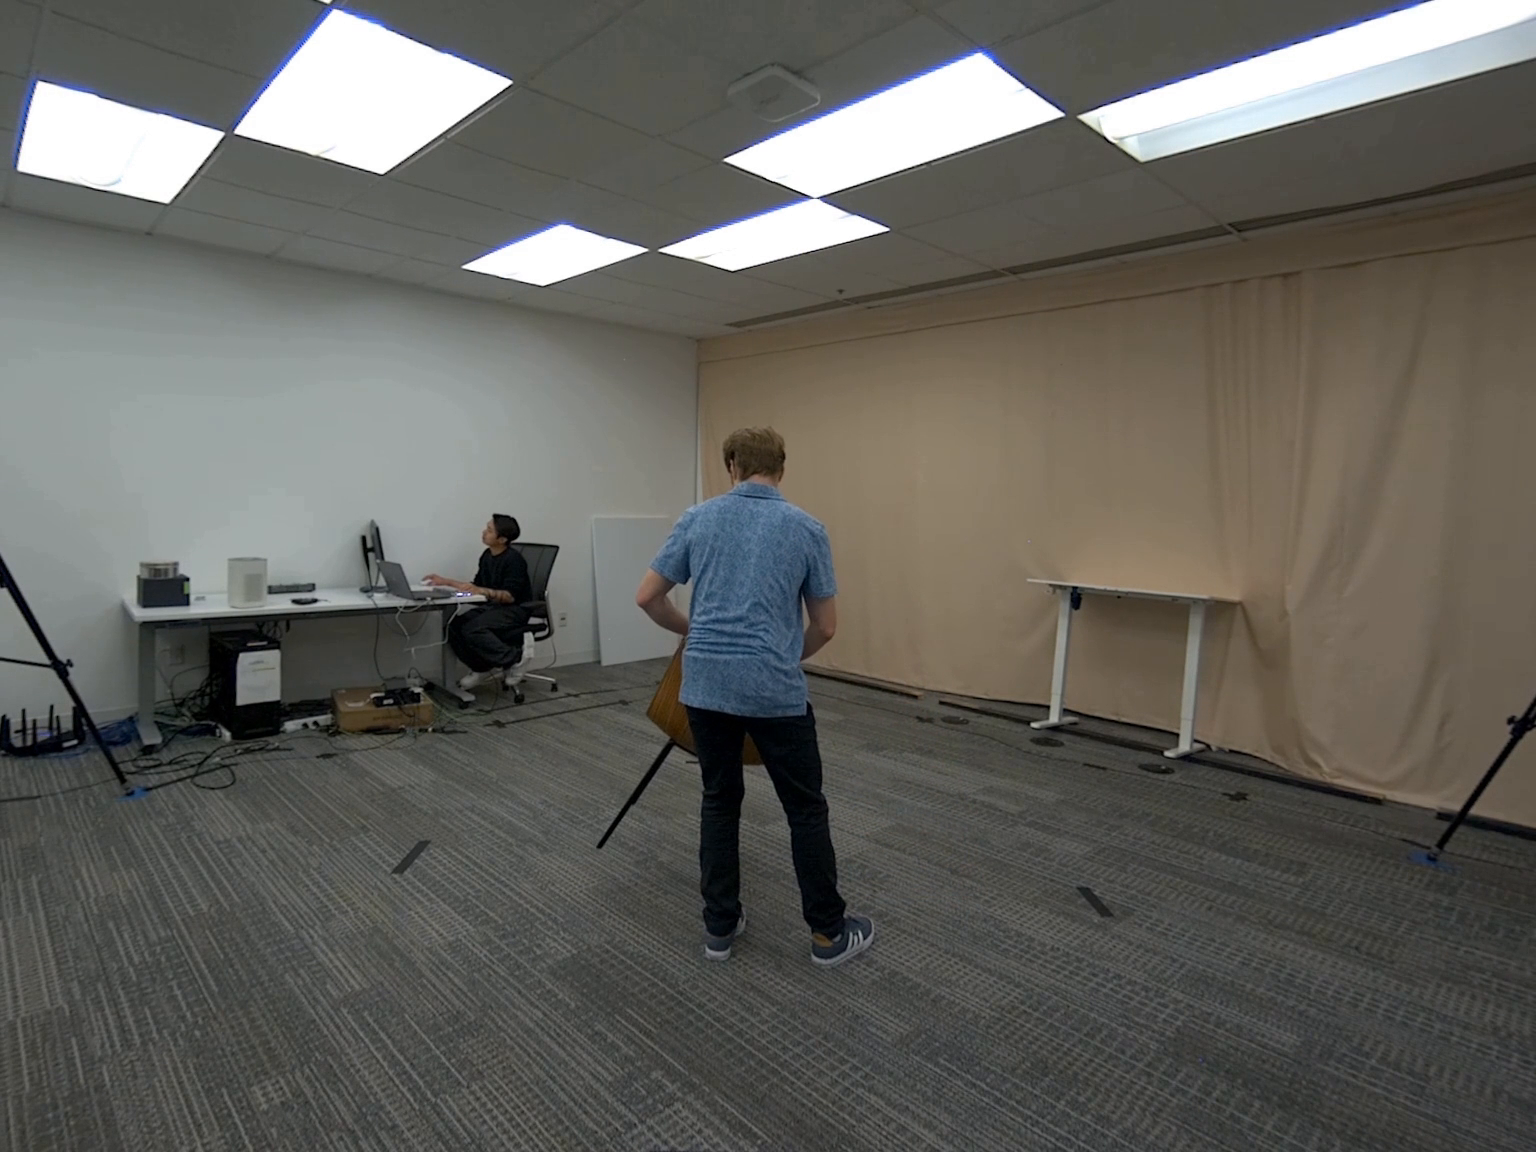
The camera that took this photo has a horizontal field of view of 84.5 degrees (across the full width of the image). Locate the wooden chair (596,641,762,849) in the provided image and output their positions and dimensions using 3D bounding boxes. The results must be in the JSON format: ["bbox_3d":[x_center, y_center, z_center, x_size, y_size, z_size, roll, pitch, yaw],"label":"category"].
[{"bbox_3d":[-0.240,0.629,3.133,0.481,0.873,0.522,20,10,6],"label":"wooden chair"}]
